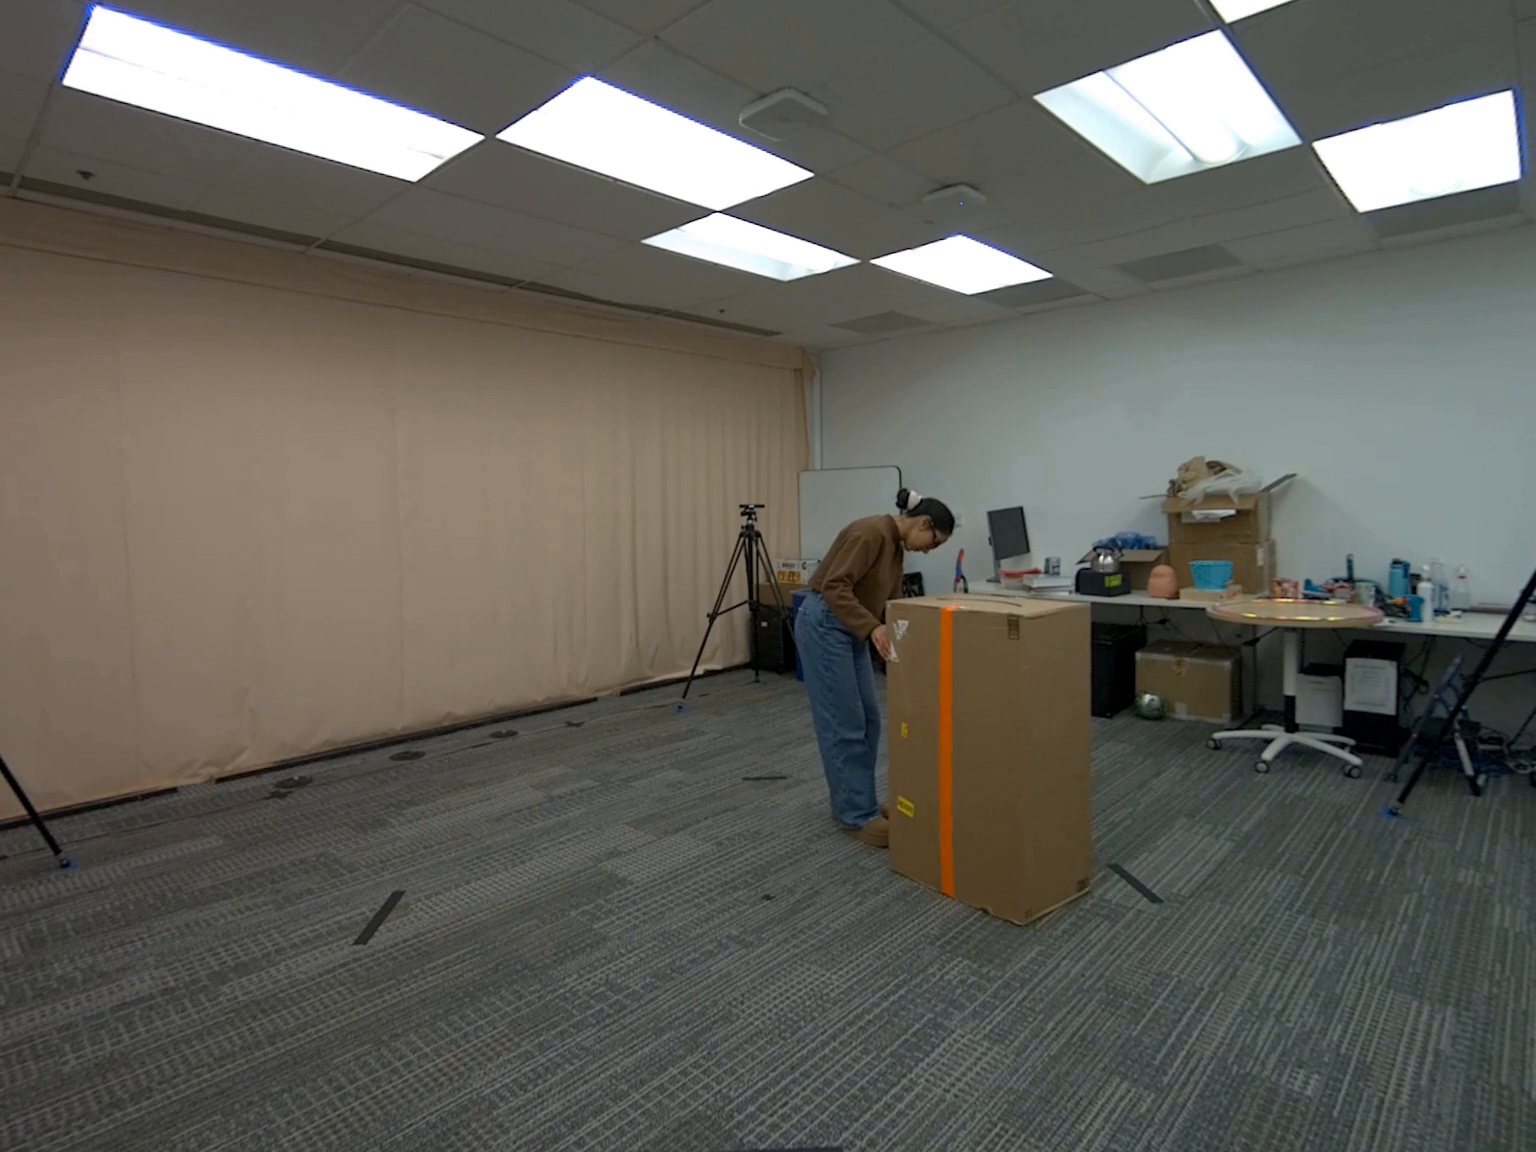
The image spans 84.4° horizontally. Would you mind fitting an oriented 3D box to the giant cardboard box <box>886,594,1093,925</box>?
[{"bbox_3d":[0.798,0.610,3.060,0.414,1.024,0.596,-4,4,-38],"label":"giant cardboard box"}]
